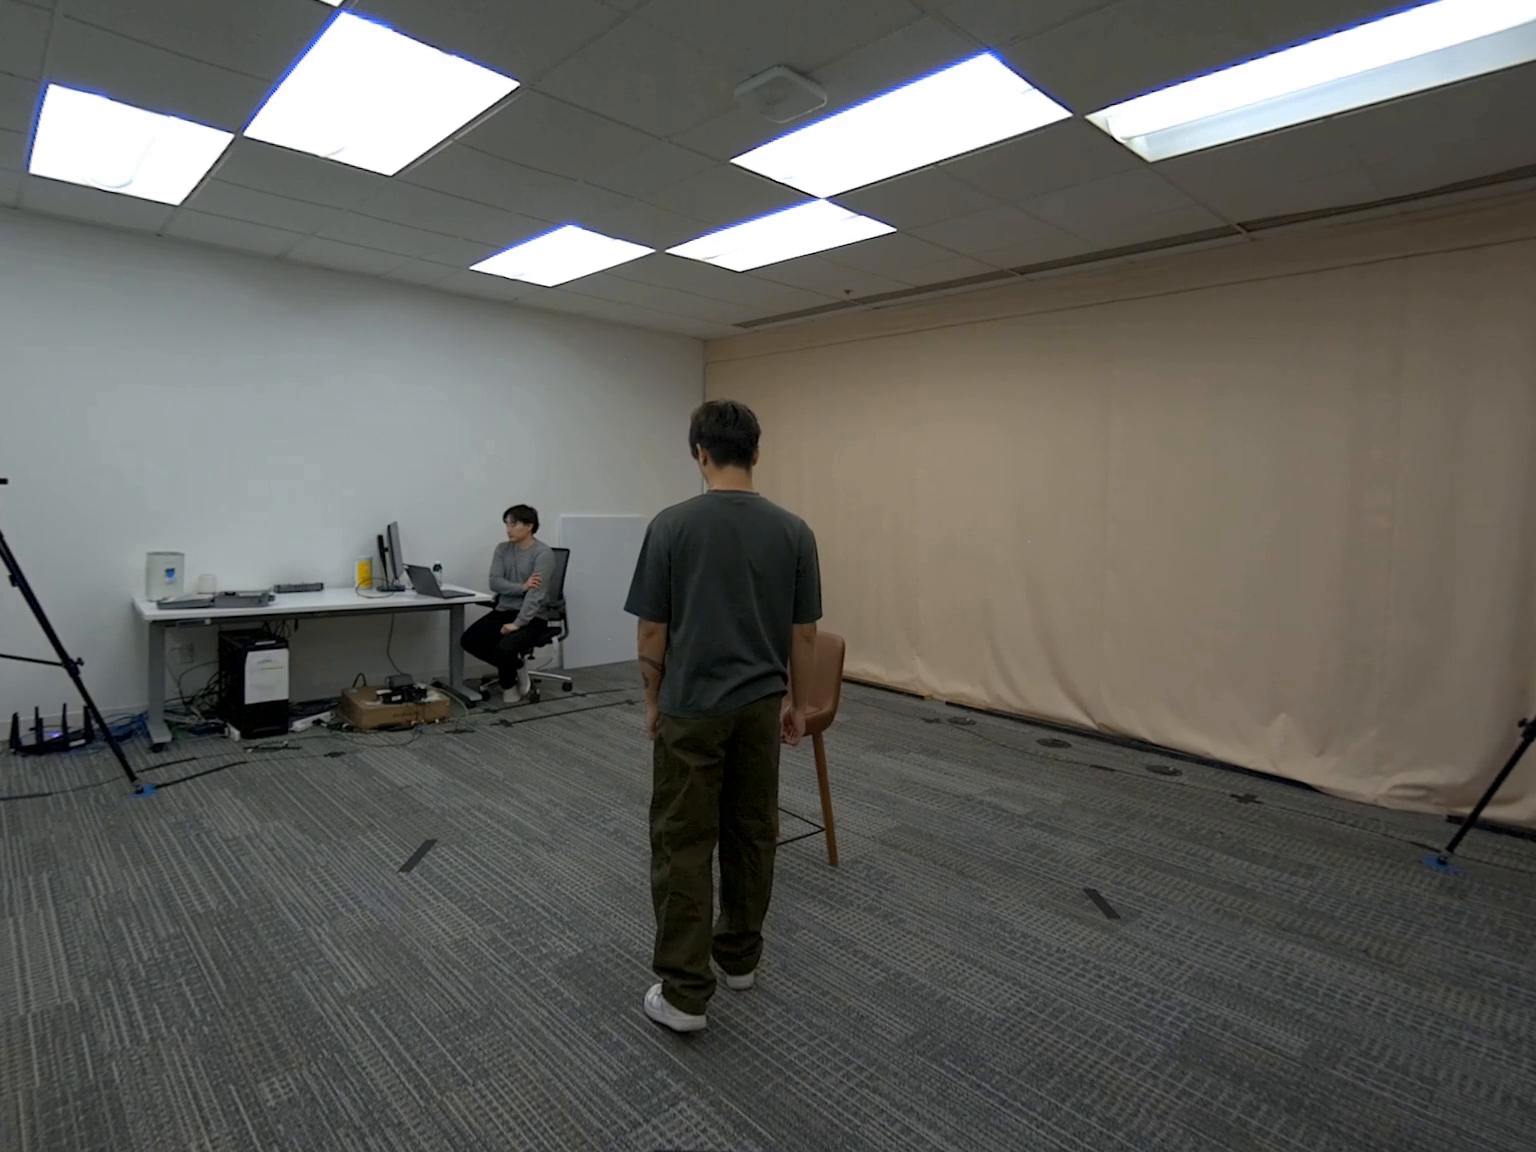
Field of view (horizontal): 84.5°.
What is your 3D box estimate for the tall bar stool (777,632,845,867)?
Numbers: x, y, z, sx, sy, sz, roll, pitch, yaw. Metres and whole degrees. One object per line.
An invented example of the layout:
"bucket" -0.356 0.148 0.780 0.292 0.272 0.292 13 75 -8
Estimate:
"tall bar stool" -0.006 0.667 3.215 0.456 0.888 0.468 1 3 -39
